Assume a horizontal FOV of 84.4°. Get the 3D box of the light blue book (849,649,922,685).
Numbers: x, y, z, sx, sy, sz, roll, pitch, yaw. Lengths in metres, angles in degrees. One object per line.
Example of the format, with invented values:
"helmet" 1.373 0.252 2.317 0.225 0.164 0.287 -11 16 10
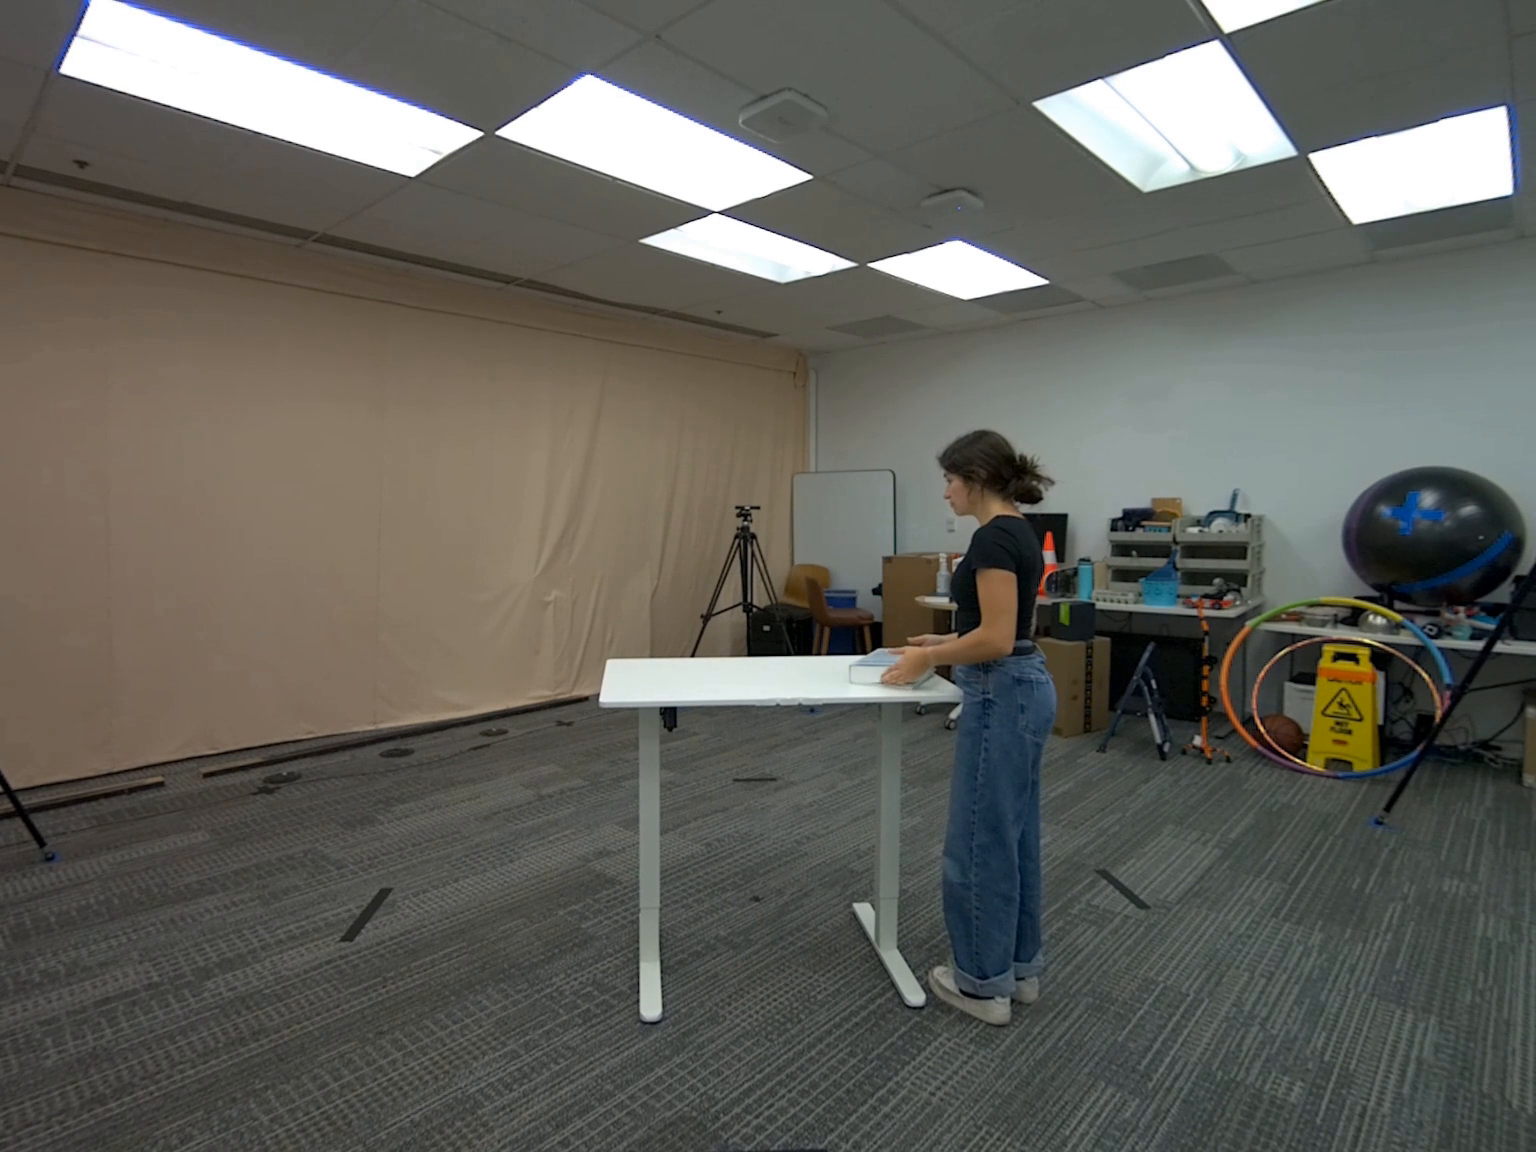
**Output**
"light blue book" 0.382 0.275 2.479 0.196 0.059 0.255 -2 5 26
